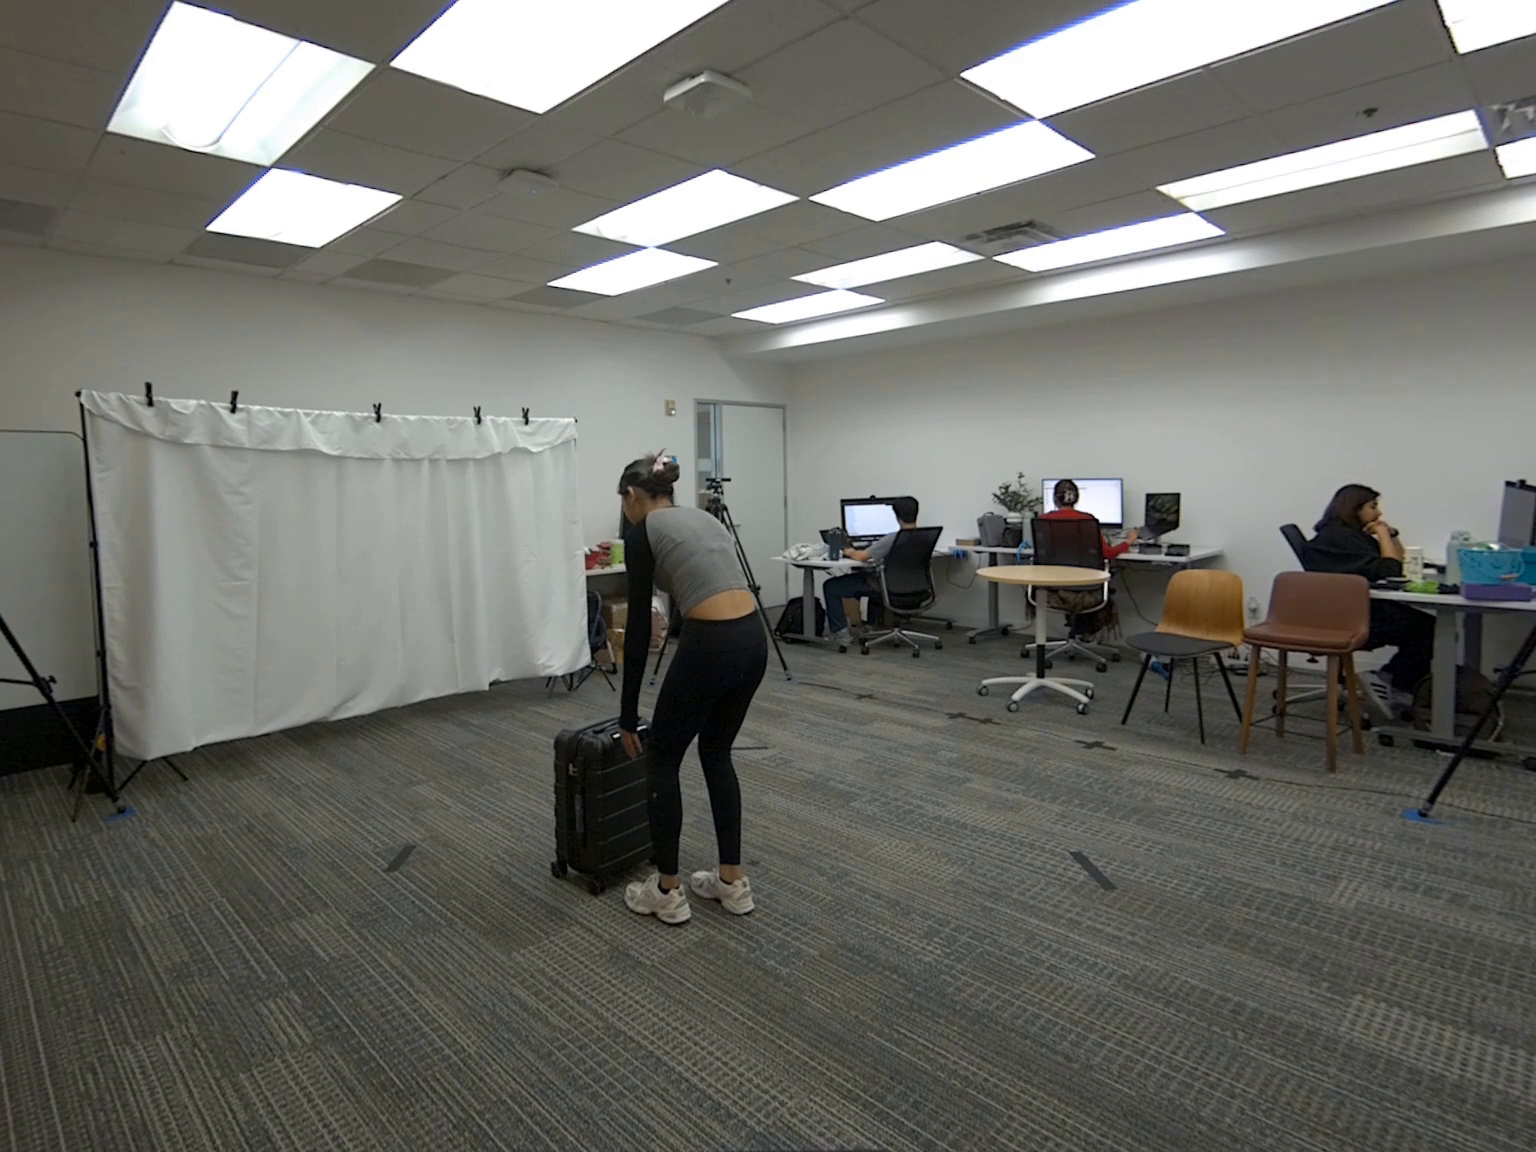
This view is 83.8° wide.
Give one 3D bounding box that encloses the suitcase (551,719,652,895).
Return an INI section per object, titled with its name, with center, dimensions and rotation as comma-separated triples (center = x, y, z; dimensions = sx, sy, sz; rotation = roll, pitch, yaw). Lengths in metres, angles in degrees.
[suitcase]
center = -0.568, 0.782, 3.052
dimensions = 0.256, 0.547, 0.366
rotation = 4, 7, 39
